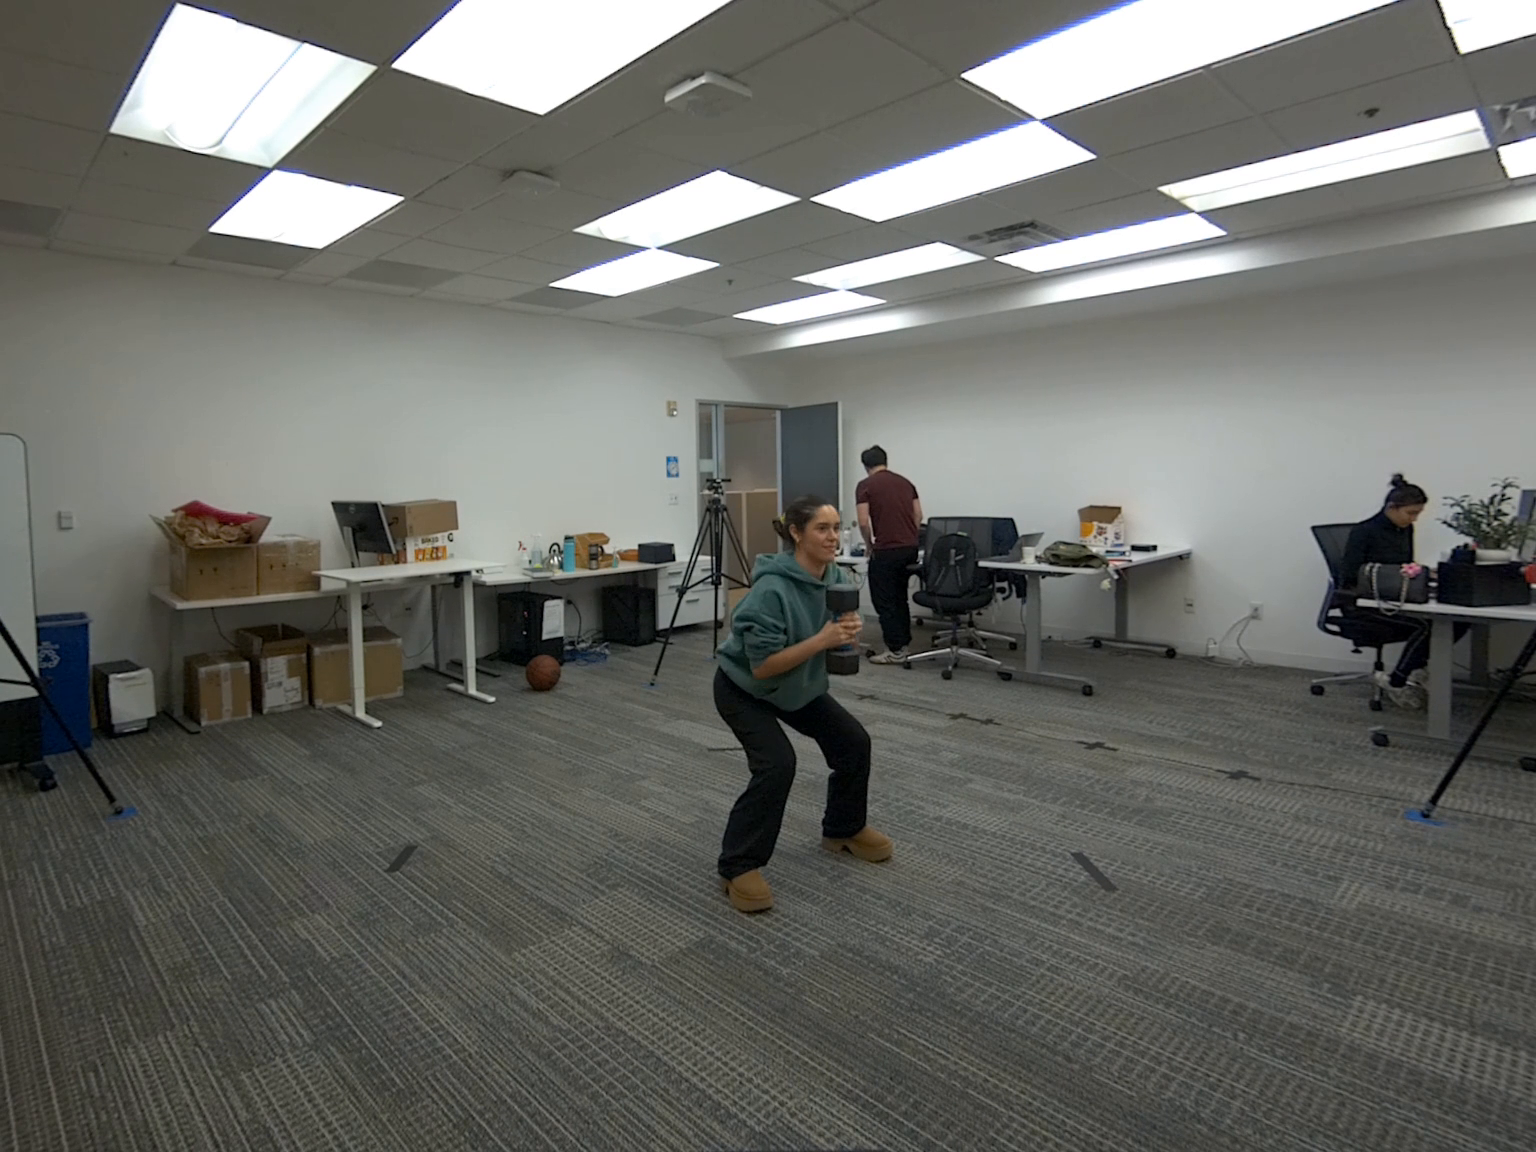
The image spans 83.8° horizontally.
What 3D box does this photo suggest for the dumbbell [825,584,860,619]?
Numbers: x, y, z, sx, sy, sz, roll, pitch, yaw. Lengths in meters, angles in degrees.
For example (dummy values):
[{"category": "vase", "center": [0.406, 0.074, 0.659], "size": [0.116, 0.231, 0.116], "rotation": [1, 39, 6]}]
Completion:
[{"category": "dumbbell", "center": [0.228, 0.178, 2.821], "size": [0.109, 0.292, 0.123], "rotation": [-3, 5, 4]}]
